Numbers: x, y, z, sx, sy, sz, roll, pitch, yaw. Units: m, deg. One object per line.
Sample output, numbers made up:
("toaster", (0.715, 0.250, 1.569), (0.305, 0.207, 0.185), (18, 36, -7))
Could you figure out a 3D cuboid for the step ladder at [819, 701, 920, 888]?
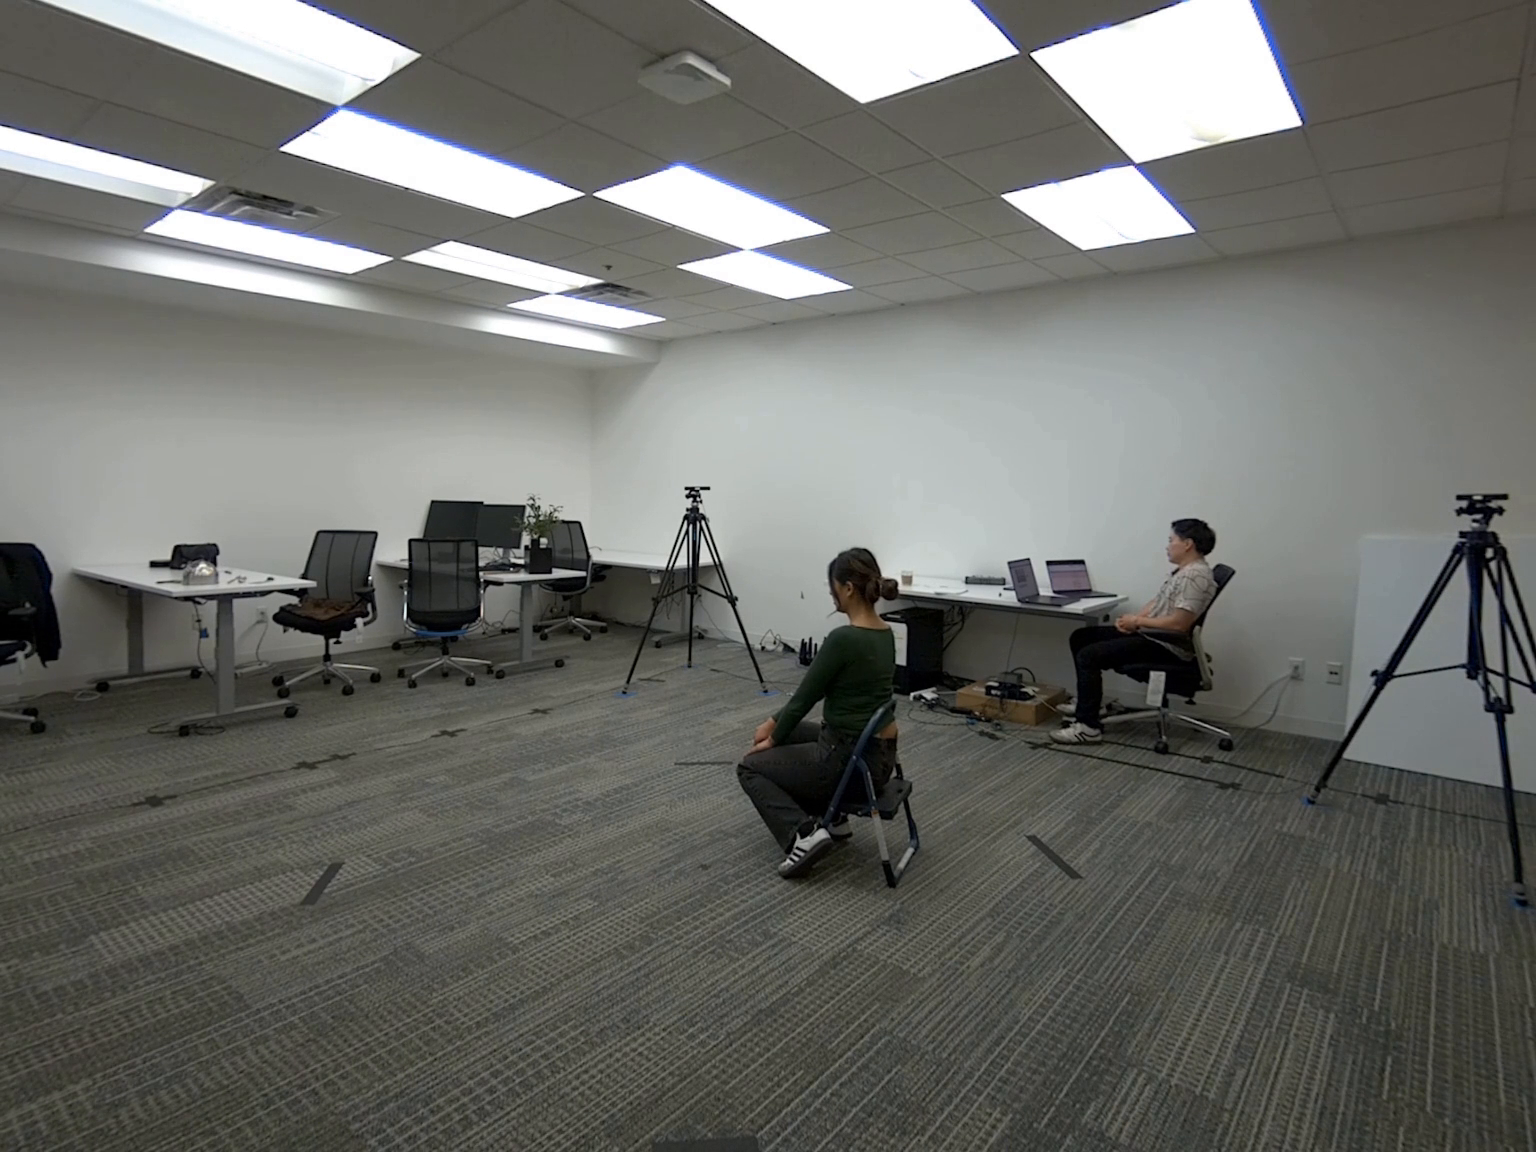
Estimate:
("step ladder", (0.365, 0.770, 3.212), (0.358, 0.604, 0.422), (3, 4, 23))
